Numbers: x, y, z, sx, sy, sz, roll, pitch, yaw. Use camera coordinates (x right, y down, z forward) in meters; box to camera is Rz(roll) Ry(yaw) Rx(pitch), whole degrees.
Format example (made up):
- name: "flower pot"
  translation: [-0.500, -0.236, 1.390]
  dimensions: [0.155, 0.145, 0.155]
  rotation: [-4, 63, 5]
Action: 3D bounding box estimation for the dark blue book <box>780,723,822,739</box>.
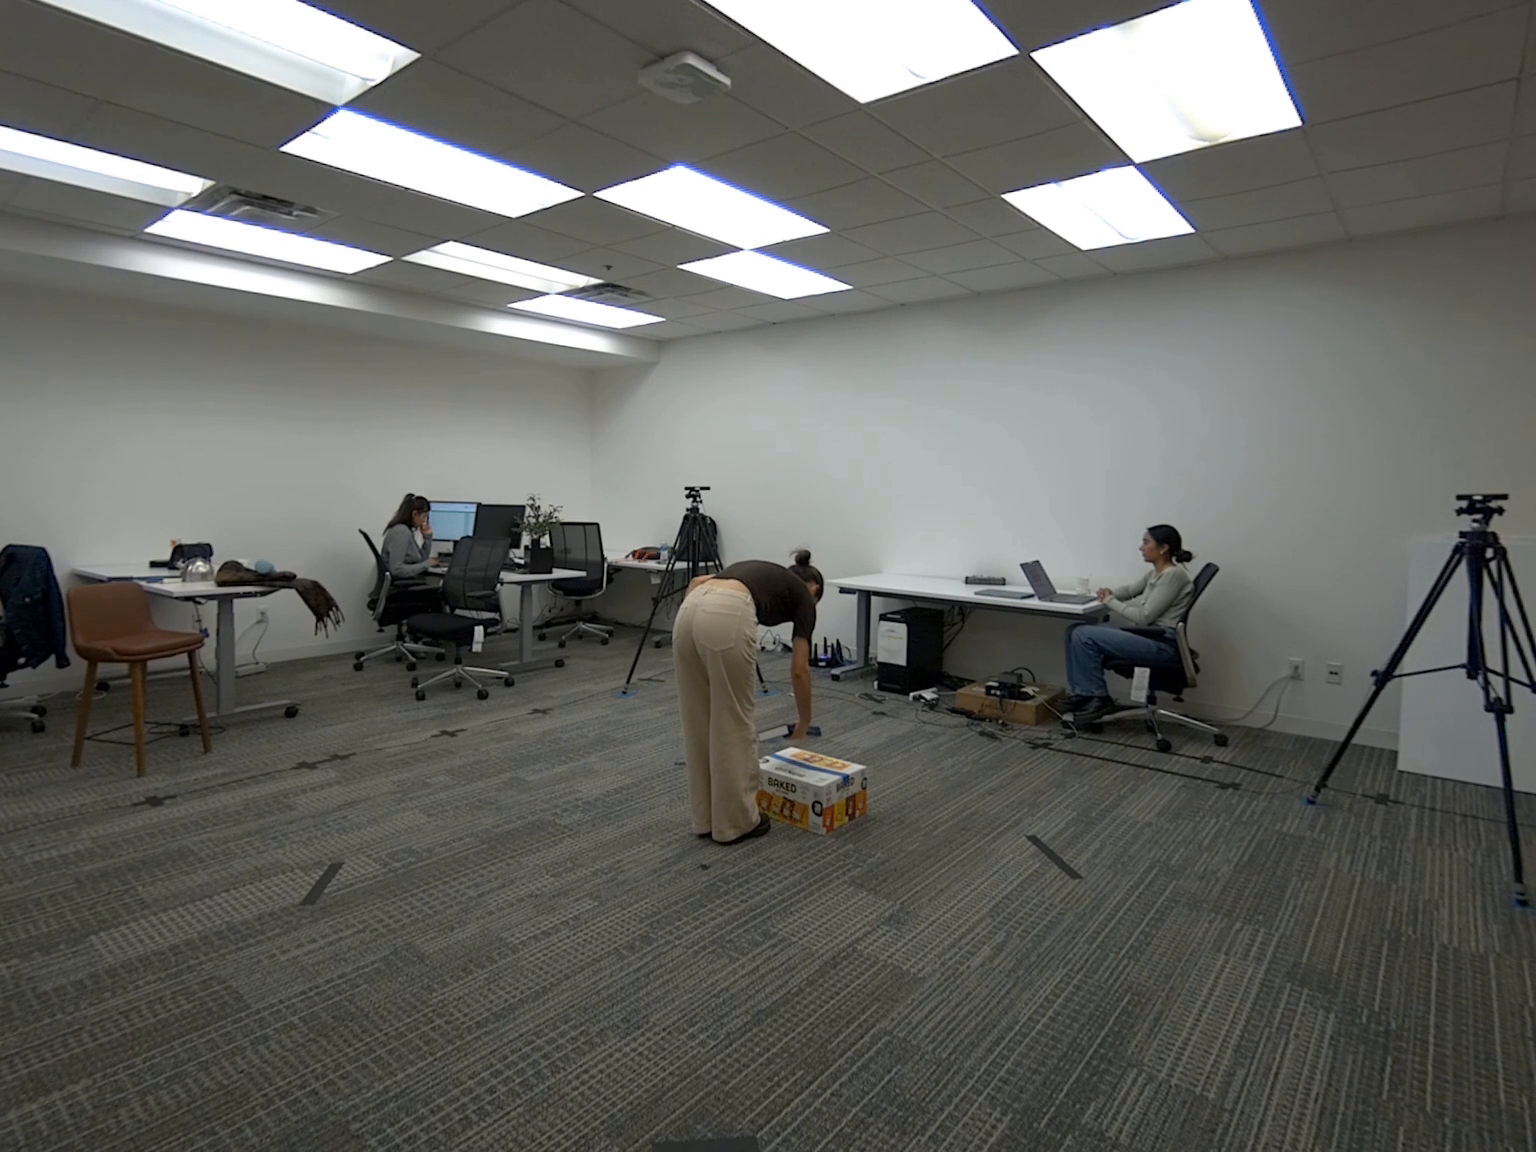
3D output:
- name: "dark blue book"
  translation: [0.083, 0.682, 3.667]
  dimensions: [0.166, 0.046, 0.236]
  rotation: [-26, -25, 38]
